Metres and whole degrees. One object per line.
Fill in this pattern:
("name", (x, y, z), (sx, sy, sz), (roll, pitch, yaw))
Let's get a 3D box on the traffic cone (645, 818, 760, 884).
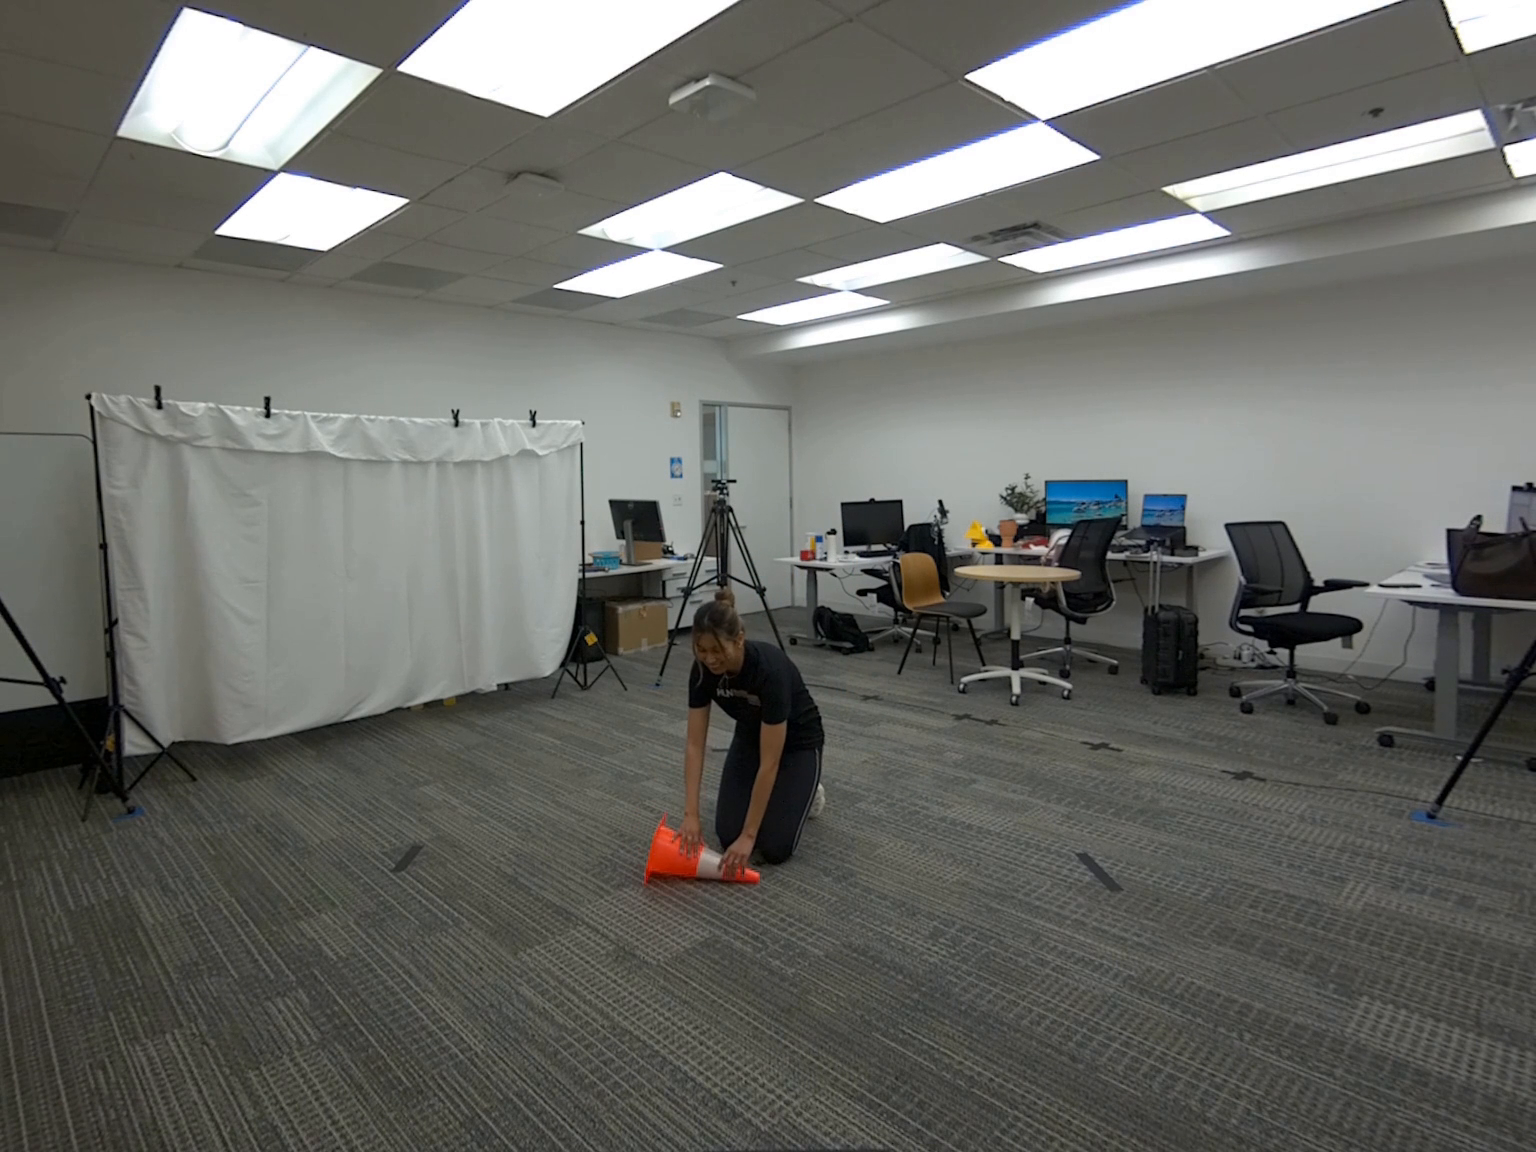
("traffic cone", (-0.211, 1.006, 3.011), (0.386, 0.203, 0.204), (13, 2, 5))
